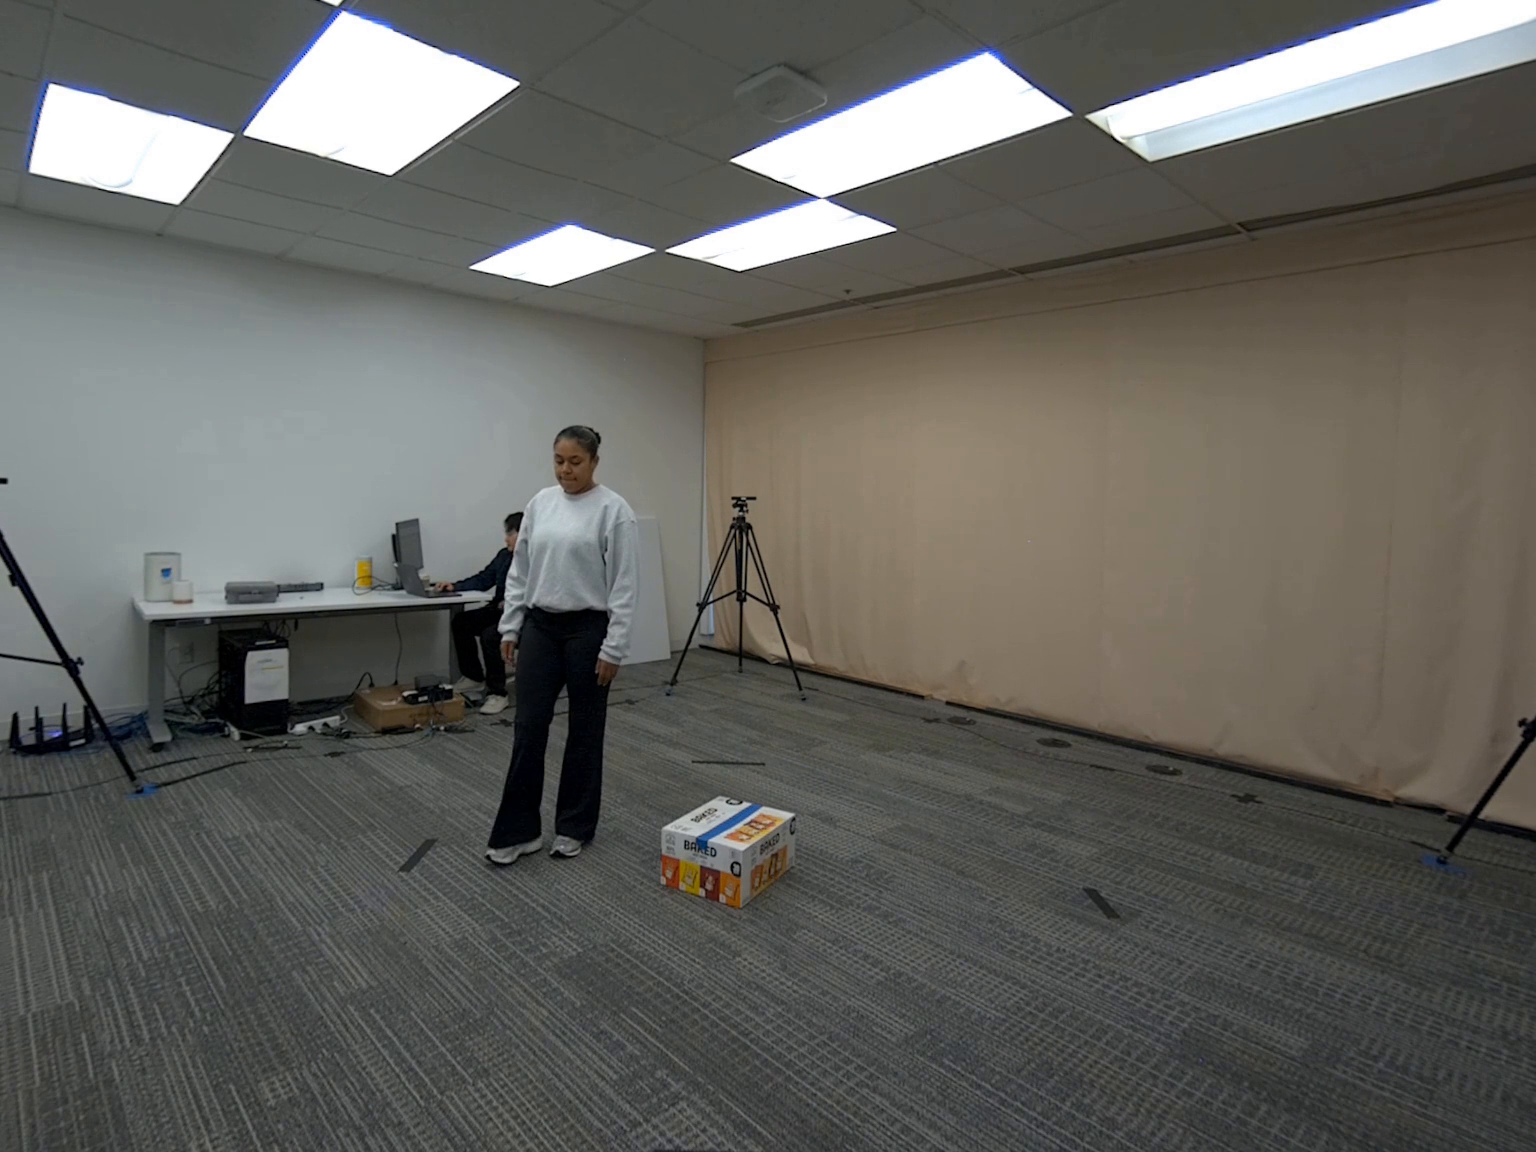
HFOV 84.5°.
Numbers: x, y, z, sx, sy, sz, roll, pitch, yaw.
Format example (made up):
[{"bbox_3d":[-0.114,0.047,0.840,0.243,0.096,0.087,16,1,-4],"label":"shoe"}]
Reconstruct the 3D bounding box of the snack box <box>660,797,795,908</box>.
[{"bbox_3d":[-0.148,1.005,3.100,0.348,0.205,0.397,4,6,30],"label":"snack box"}]
